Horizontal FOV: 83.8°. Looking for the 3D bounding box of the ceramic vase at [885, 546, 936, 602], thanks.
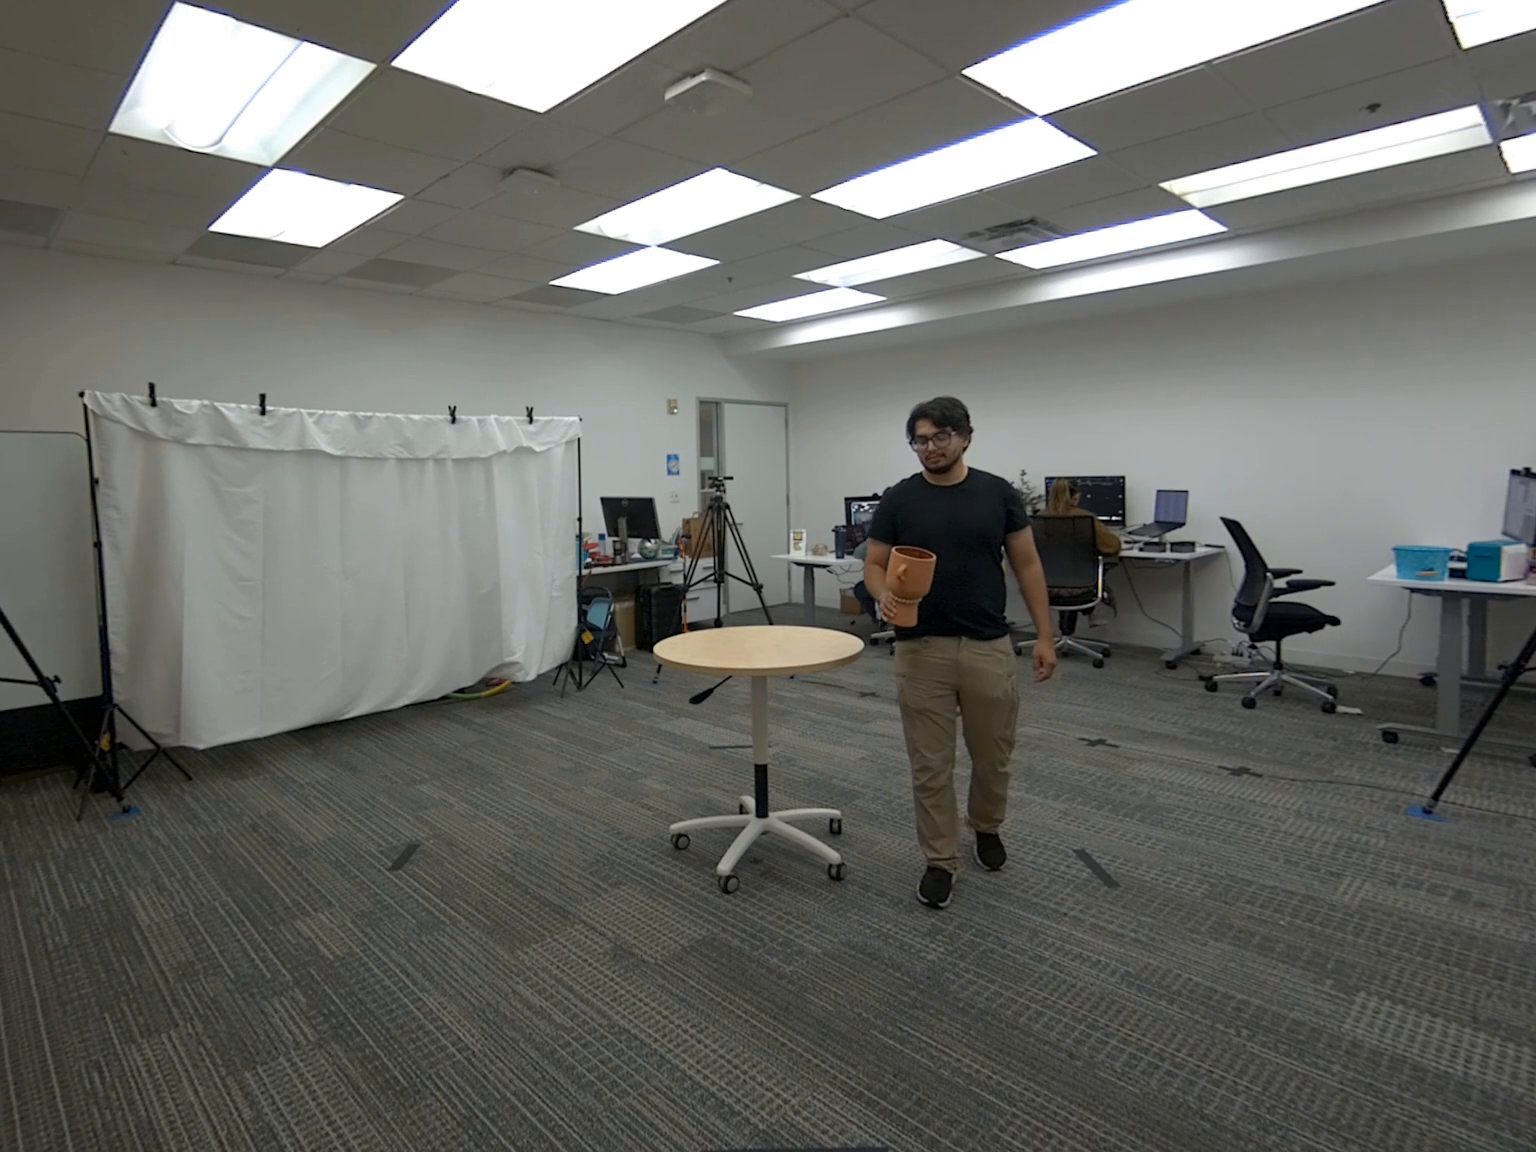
[{"bbox_3d":[0.412,0.036,2.592,0.156,0.217,0.139,2,18,-20],"label":"ceramic vase"}]
